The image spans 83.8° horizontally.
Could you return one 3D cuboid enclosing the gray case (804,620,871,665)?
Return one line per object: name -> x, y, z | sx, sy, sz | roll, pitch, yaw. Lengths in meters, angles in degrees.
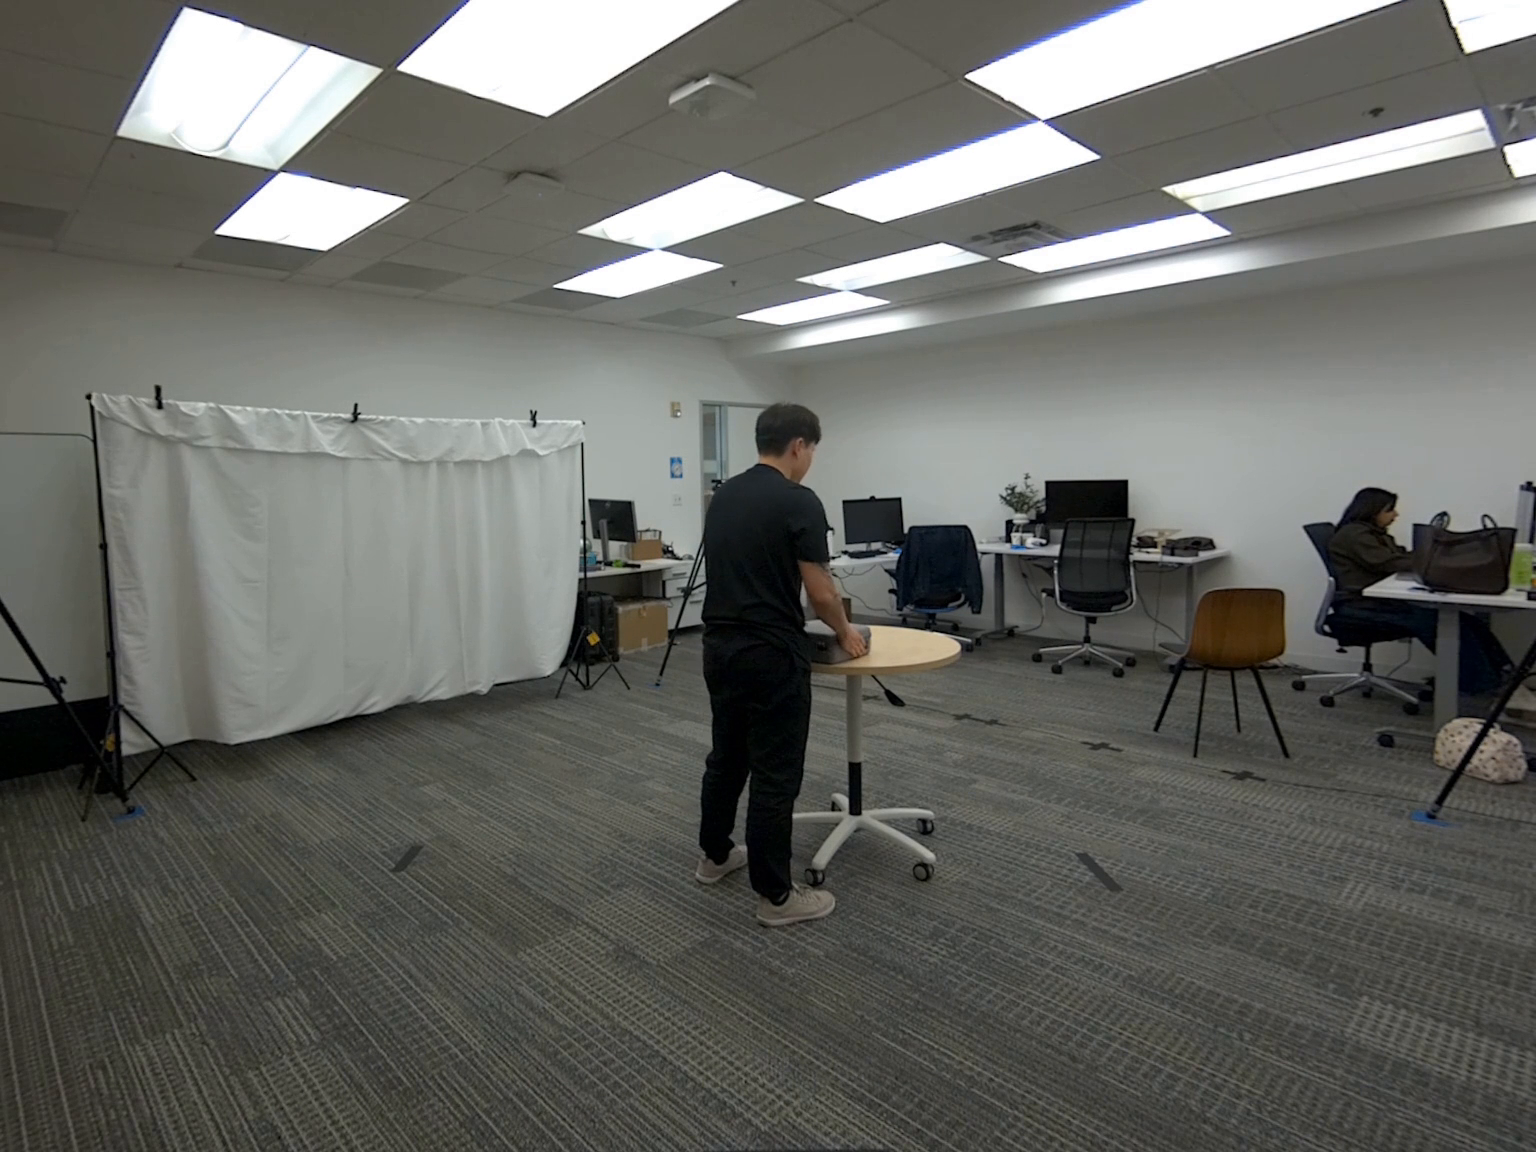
gray case -> 0.196, 0.223, 2.979 | 0.264, 0.104, 0.254 | 3, 6, 42
